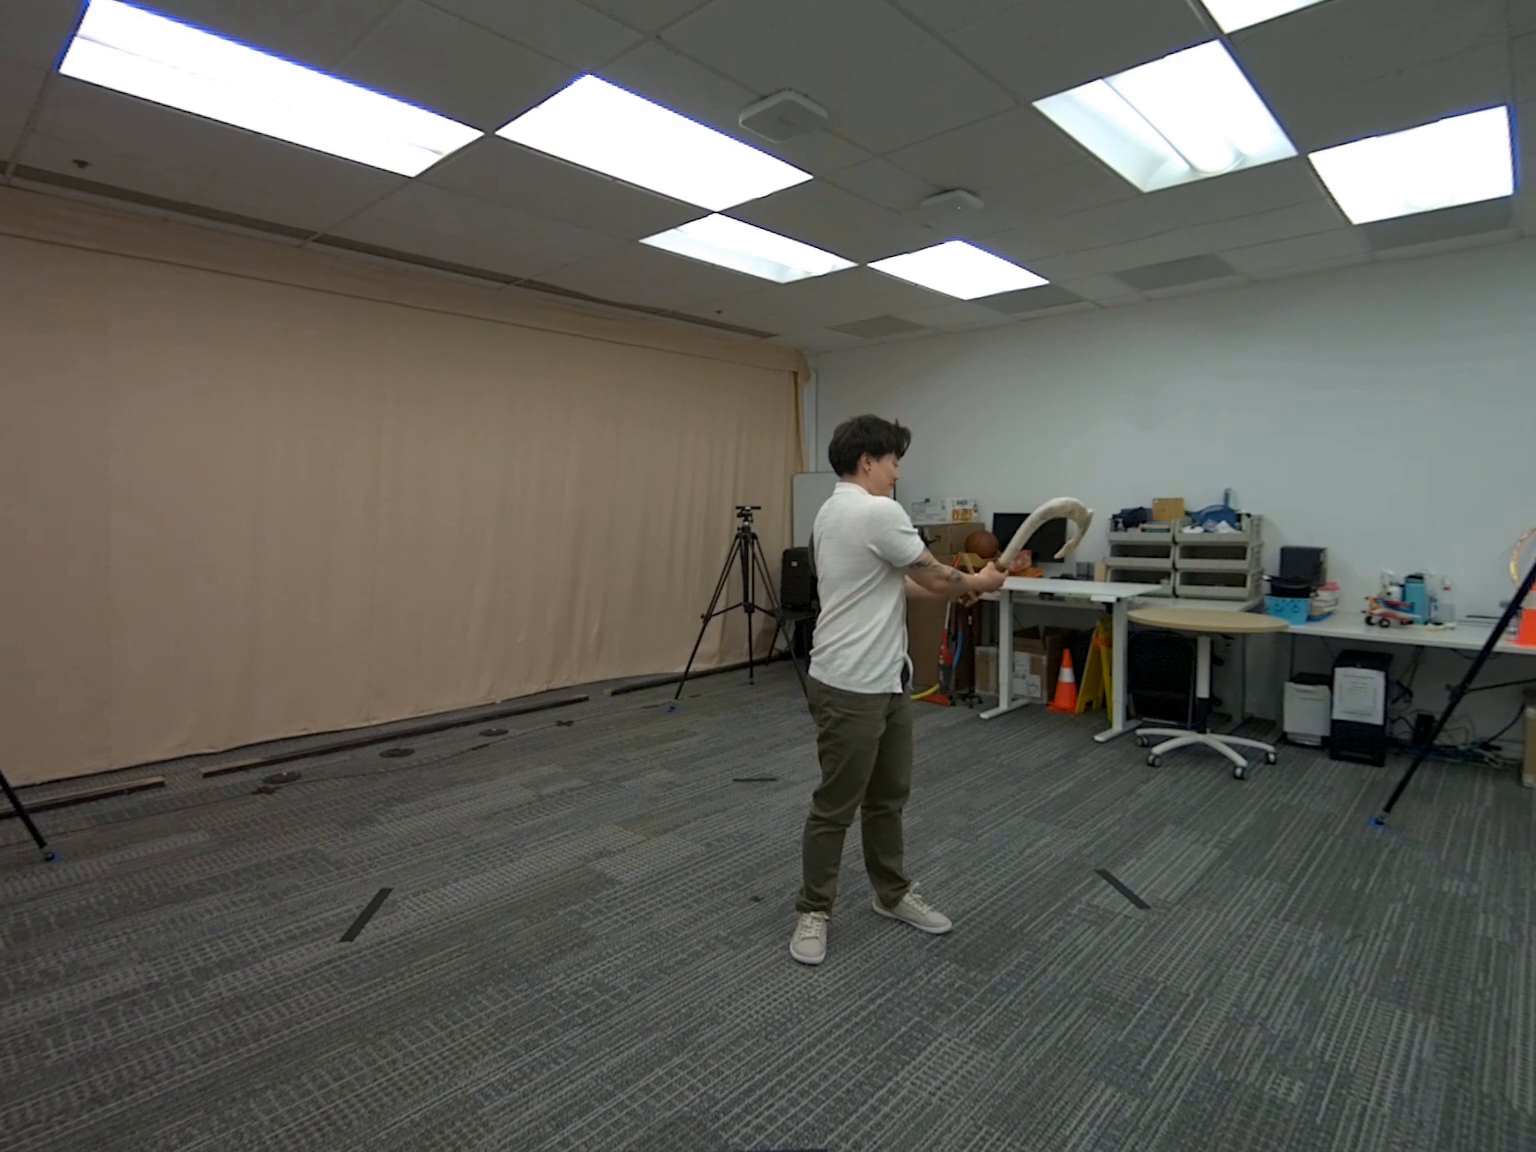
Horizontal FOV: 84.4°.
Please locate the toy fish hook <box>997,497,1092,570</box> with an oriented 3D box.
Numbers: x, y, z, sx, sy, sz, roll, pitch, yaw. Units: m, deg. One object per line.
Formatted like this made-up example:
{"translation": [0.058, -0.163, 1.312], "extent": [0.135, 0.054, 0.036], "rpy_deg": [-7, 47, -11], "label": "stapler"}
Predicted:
{"translation": [0.853, -0.050, 2.759], "extent": [0.219, 0.509, 0.049], "rpy_deg": [30, 28, -19], "label": "toy fish hook"}
